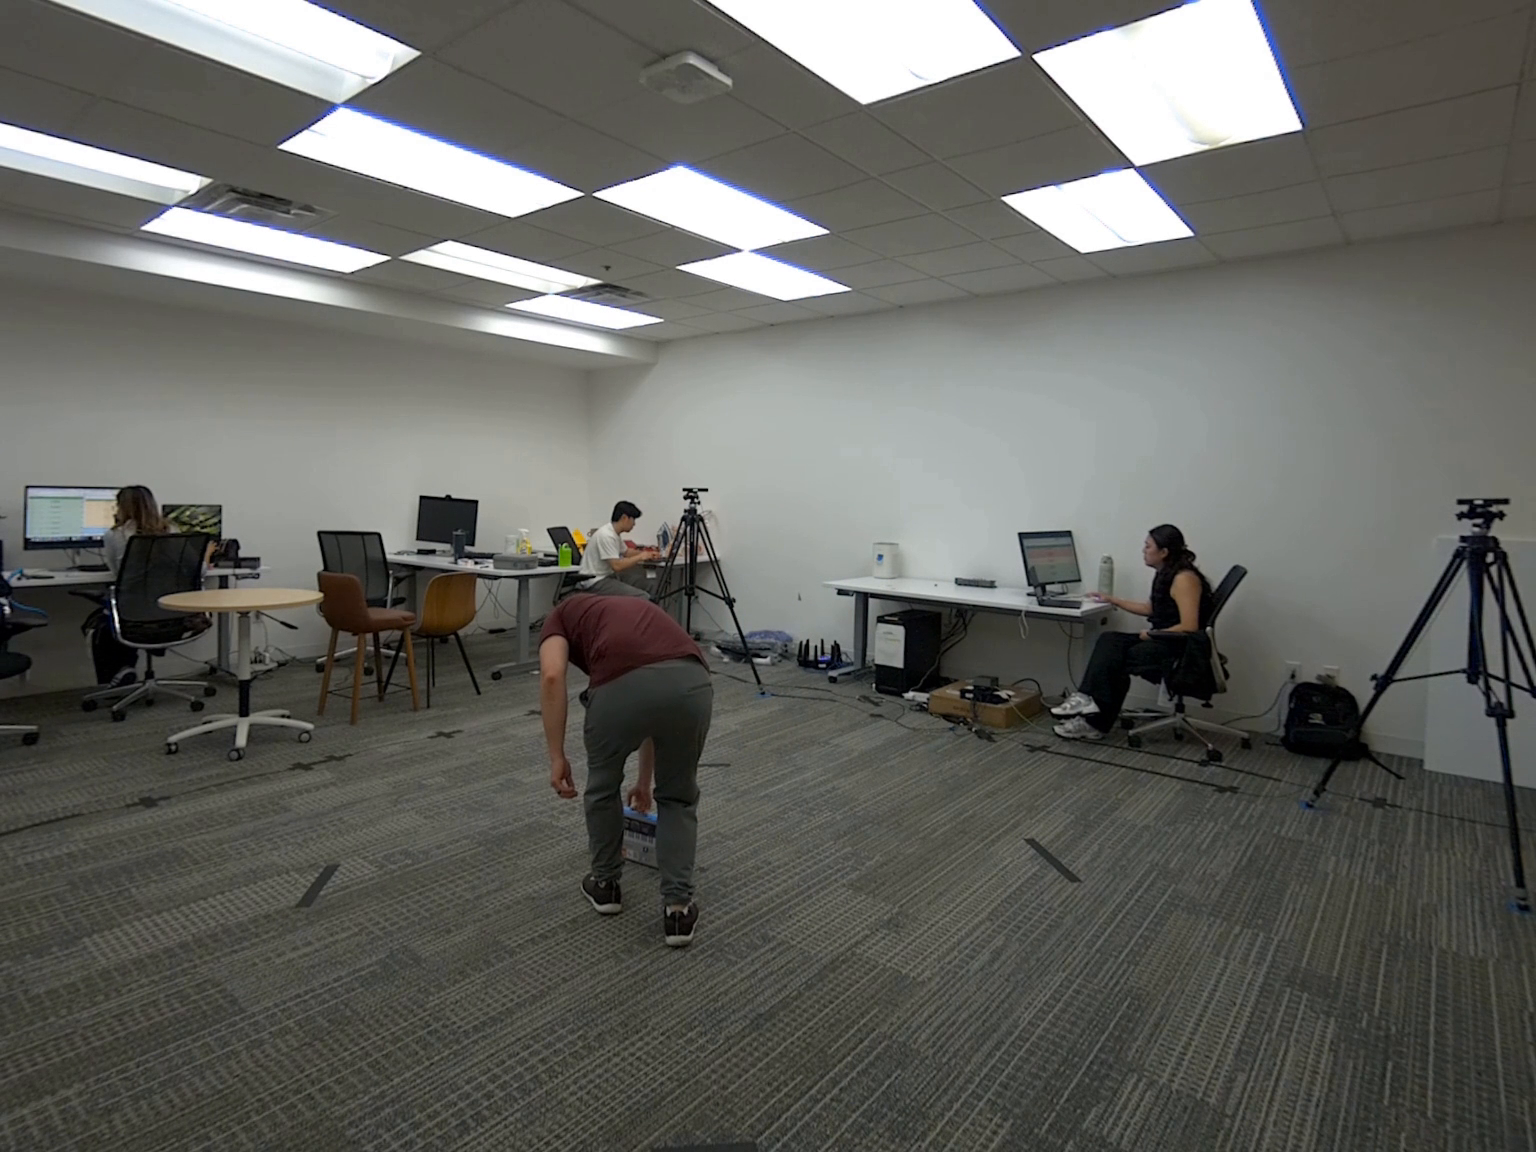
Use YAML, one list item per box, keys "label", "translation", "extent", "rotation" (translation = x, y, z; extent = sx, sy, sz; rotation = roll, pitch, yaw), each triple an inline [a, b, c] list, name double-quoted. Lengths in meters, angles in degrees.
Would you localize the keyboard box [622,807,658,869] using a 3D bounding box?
- label: "keyboard box"
  translation: [-0.488, 0.968, 3.174]
  extent: [0.450, 0.176, 0.057]
  rotation: [5, 0, 31]
